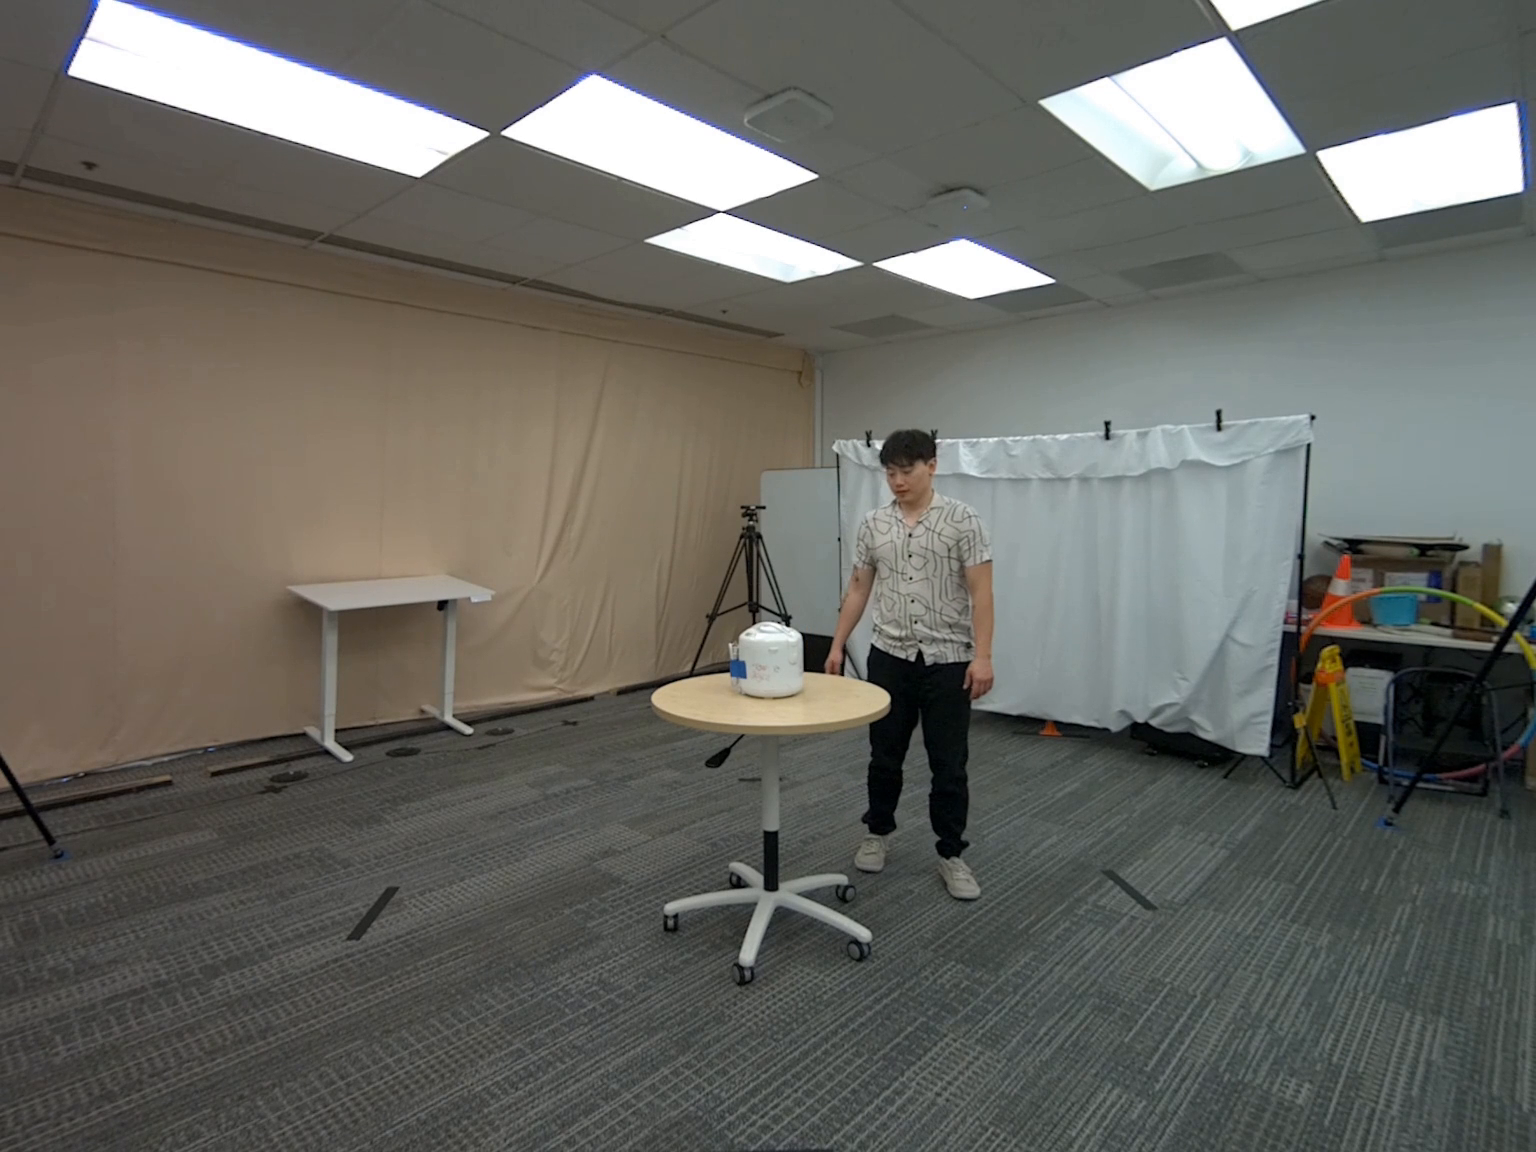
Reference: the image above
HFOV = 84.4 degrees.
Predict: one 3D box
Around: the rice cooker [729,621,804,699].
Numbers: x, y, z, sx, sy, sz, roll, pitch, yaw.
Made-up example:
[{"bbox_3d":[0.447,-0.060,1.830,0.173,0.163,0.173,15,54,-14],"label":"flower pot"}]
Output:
[{"bbox_3d":[0.010,0.265,2.739,0.211,0.232,0.228,-5,5,-44],"label":"rice cooker"}]
